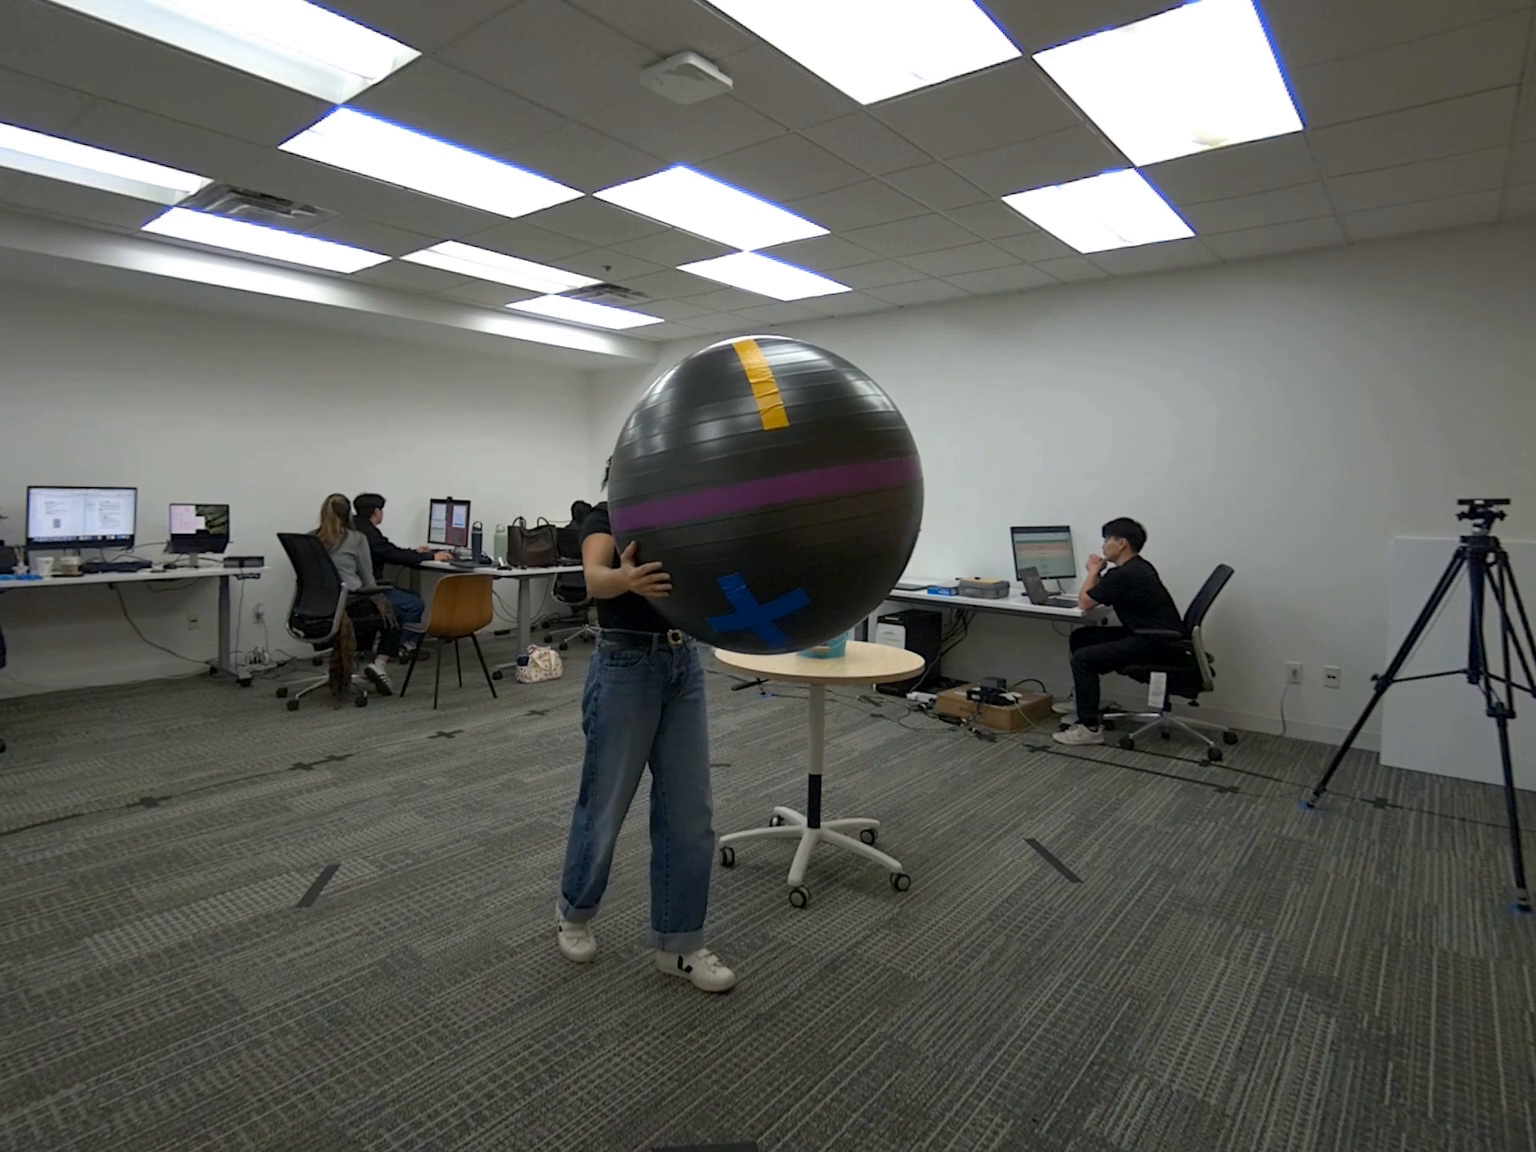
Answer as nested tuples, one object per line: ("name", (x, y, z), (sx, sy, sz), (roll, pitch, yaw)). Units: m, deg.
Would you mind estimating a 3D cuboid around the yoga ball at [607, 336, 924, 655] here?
("yoga ball", (-0.015, -0.184, 2.056), (0.757, 0.755, 0.762), (1, 4, -2))
